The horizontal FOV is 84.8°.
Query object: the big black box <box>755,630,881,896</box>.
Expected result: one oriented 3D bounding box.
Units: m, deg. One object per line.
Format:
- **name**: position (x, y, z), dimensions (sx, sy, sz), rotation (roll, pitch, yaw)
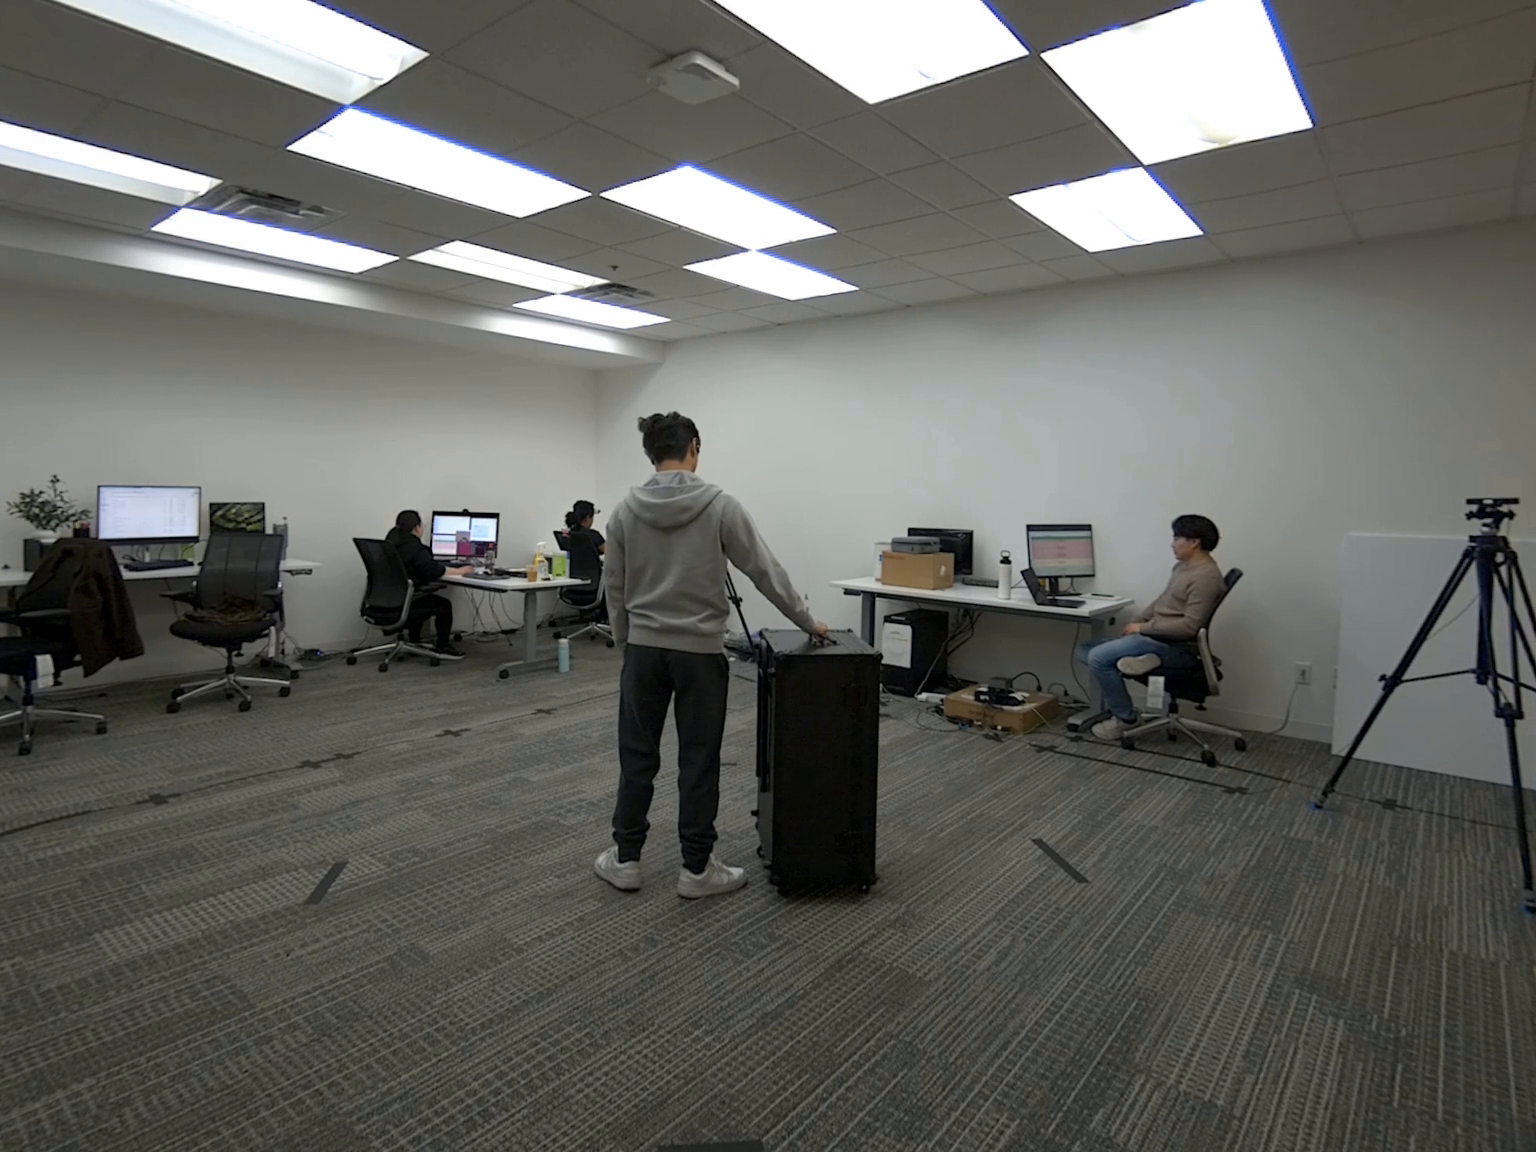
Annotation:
- **big black box**: position (0.148, 0.657, 3.064), dimensions (0.394, 0.858, 0.526), rotation (0, 5, -6)
